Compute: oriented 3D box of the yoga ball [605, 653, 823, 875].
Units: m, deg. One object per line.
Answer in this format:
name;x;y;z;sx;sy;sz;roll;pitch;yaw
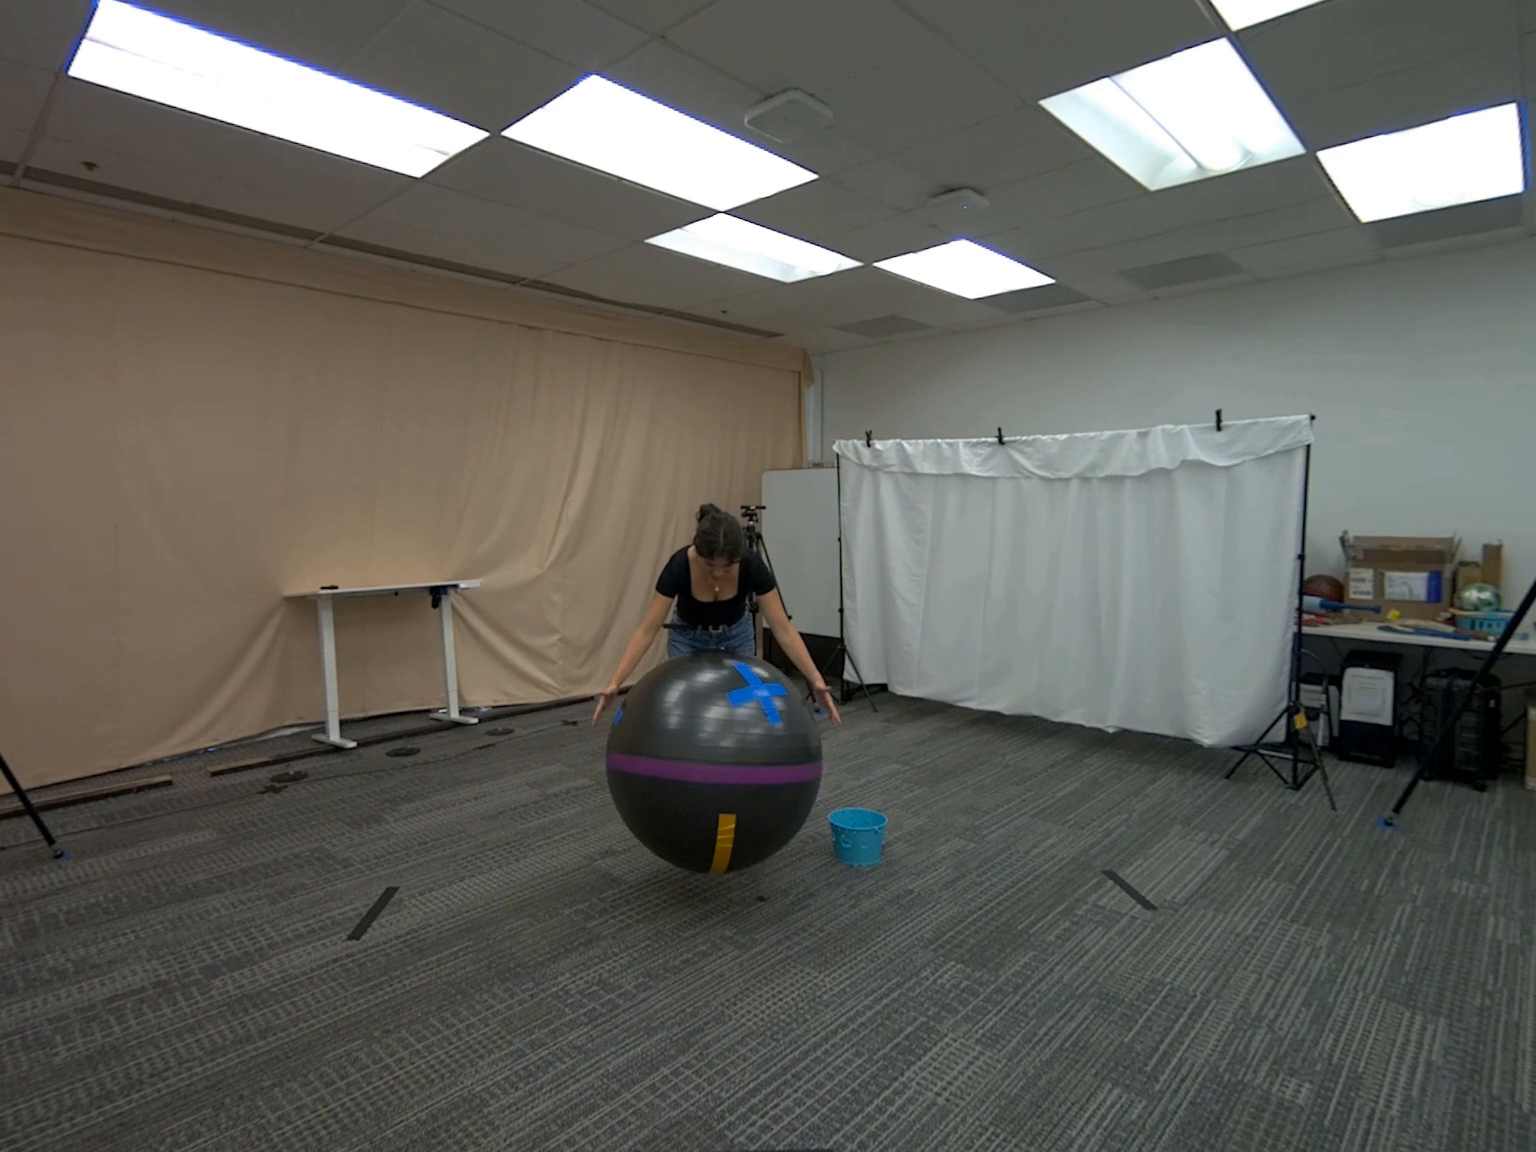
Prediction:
yoga ball;-0.193;0.667;2.943;0.757;0.756;0.760;0;4;-2
